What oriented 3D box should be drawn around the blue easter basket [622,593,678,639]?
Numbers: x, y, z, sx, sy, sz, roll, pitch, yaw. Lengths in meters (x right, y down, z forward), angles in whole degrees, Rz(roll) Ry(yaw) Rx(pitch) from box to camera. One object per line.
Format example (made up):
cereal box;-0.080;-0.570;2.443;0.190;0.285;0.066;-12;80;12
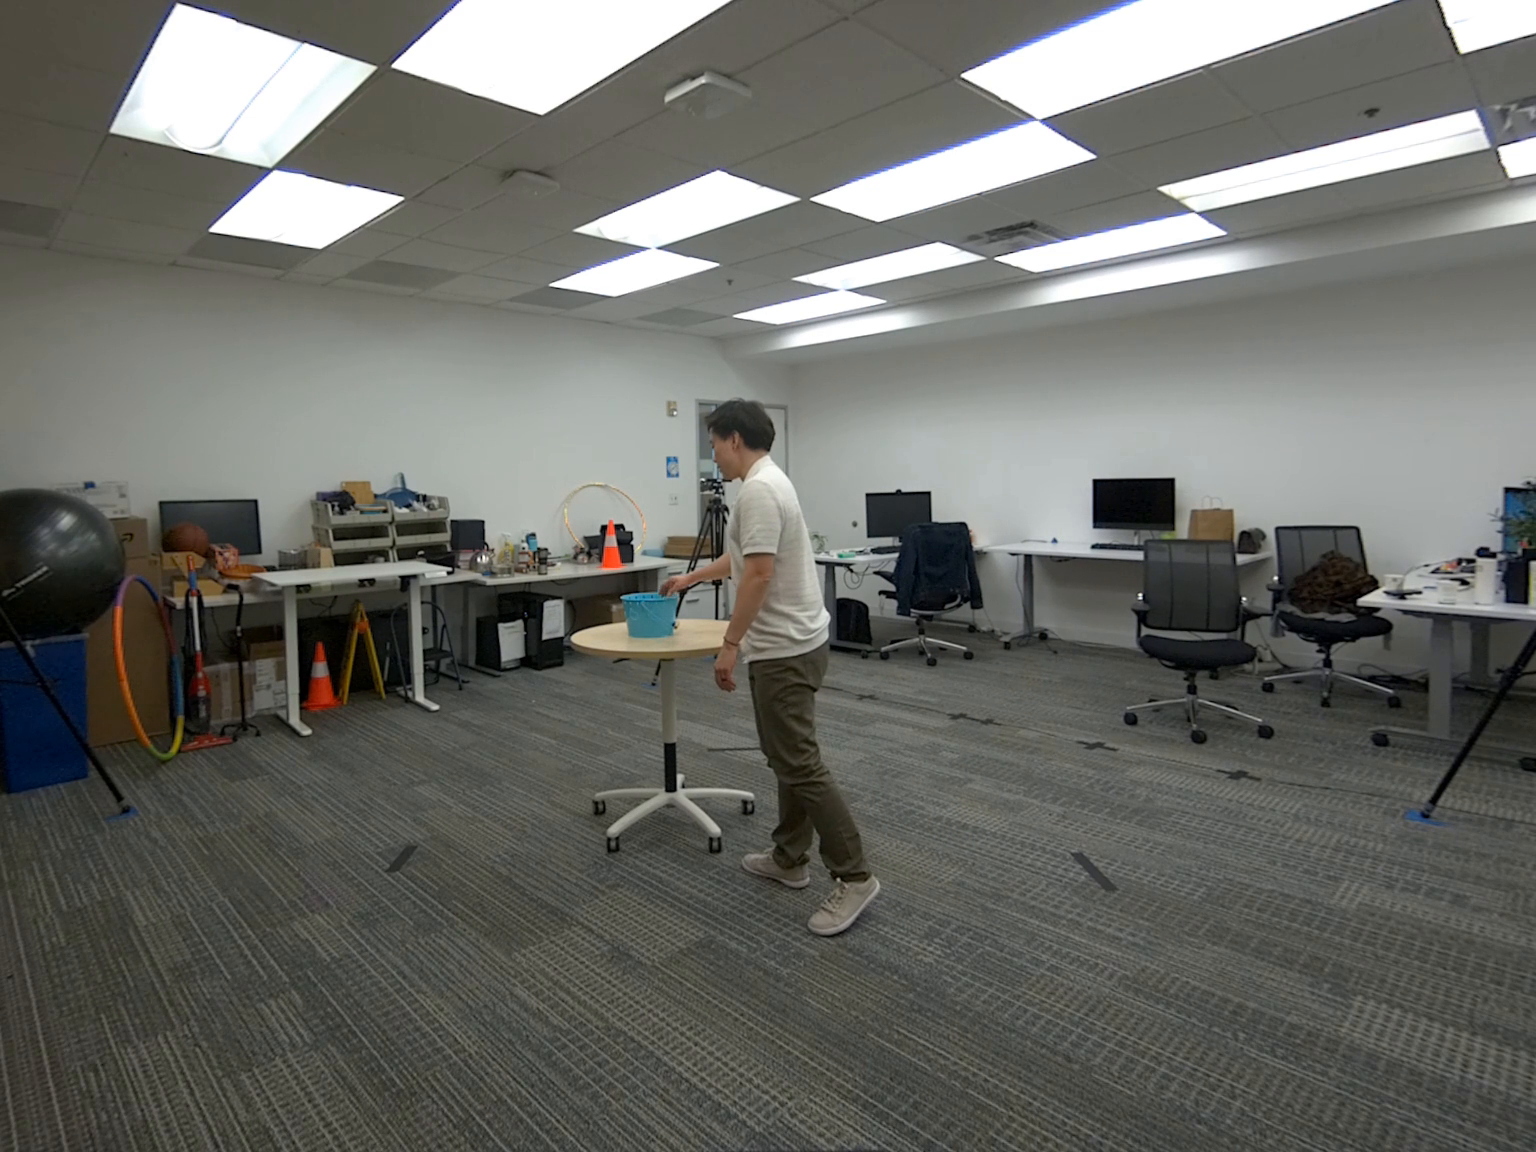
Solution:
blue easter basket;-0.470;0.160;3.427;0.243;0.155;0.245;-1;5;-2
